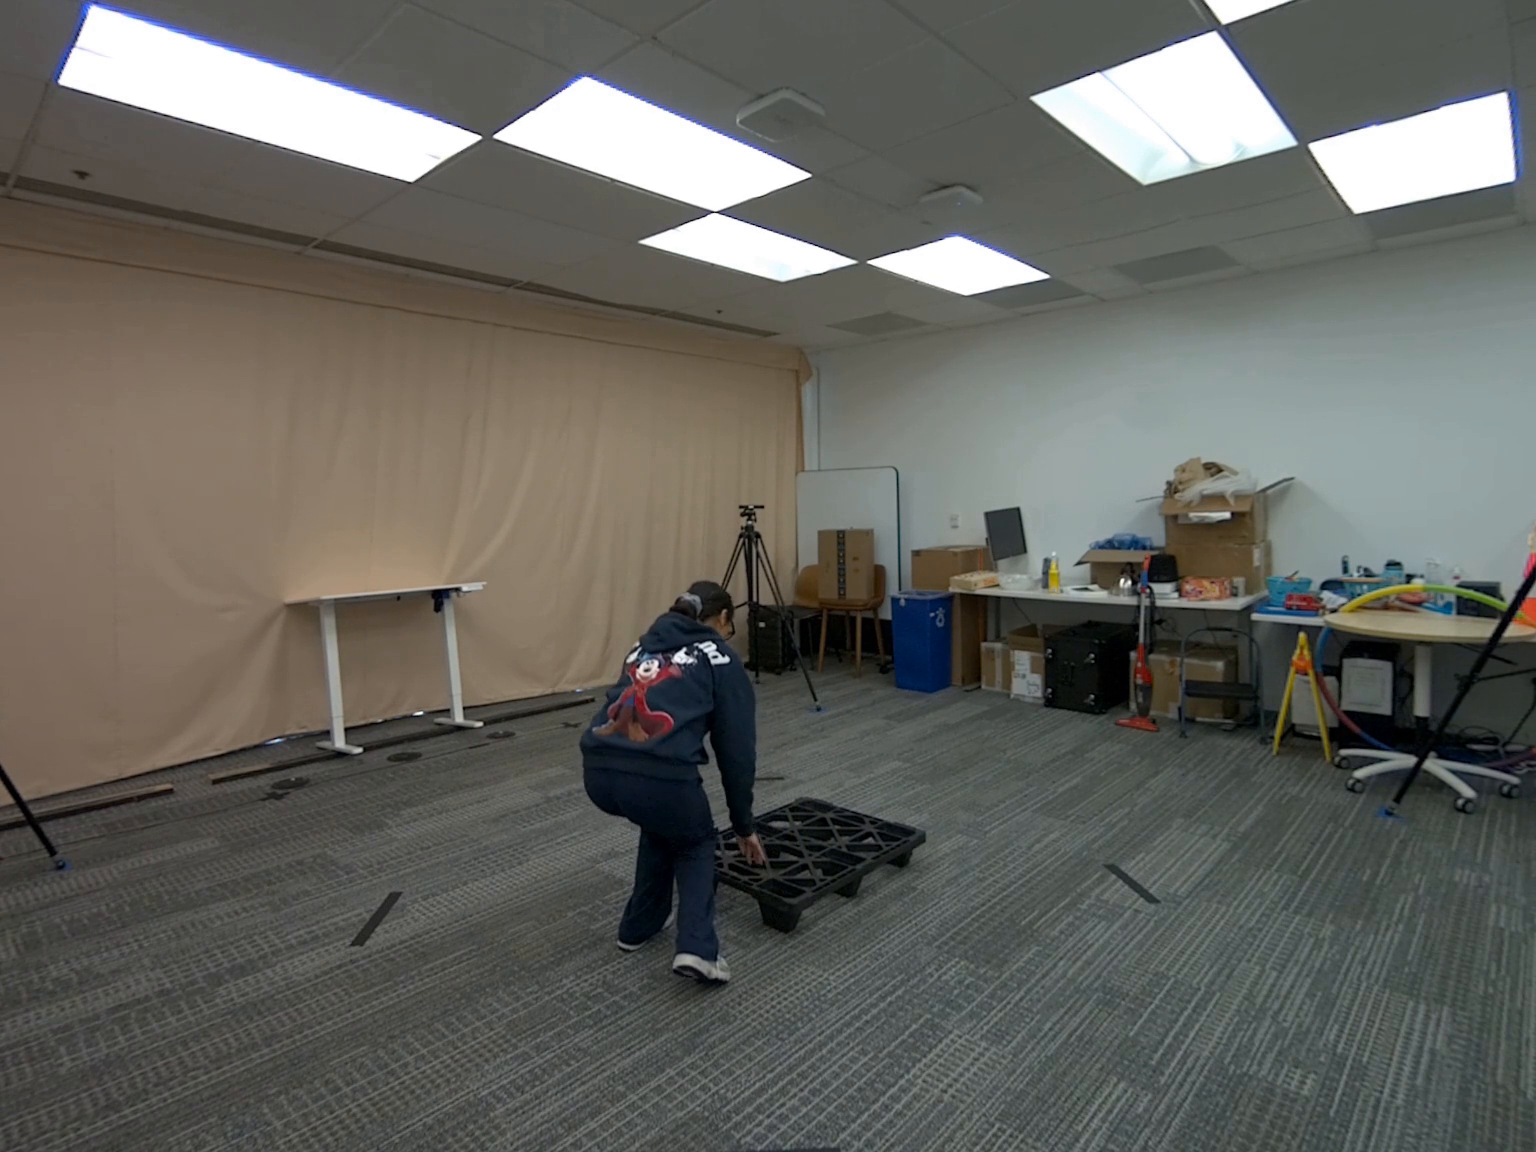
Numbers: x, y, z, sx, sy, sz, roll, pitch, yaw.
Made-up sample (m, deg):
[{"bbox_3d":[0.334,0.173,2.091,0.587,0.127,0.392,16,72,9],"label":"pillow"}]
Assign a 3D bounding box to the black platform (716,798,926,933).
[{"bbox_3d":[0.121,1.058,3.146,0.625,0.143,0.781,3,6,44],"label":"black platform"}]
